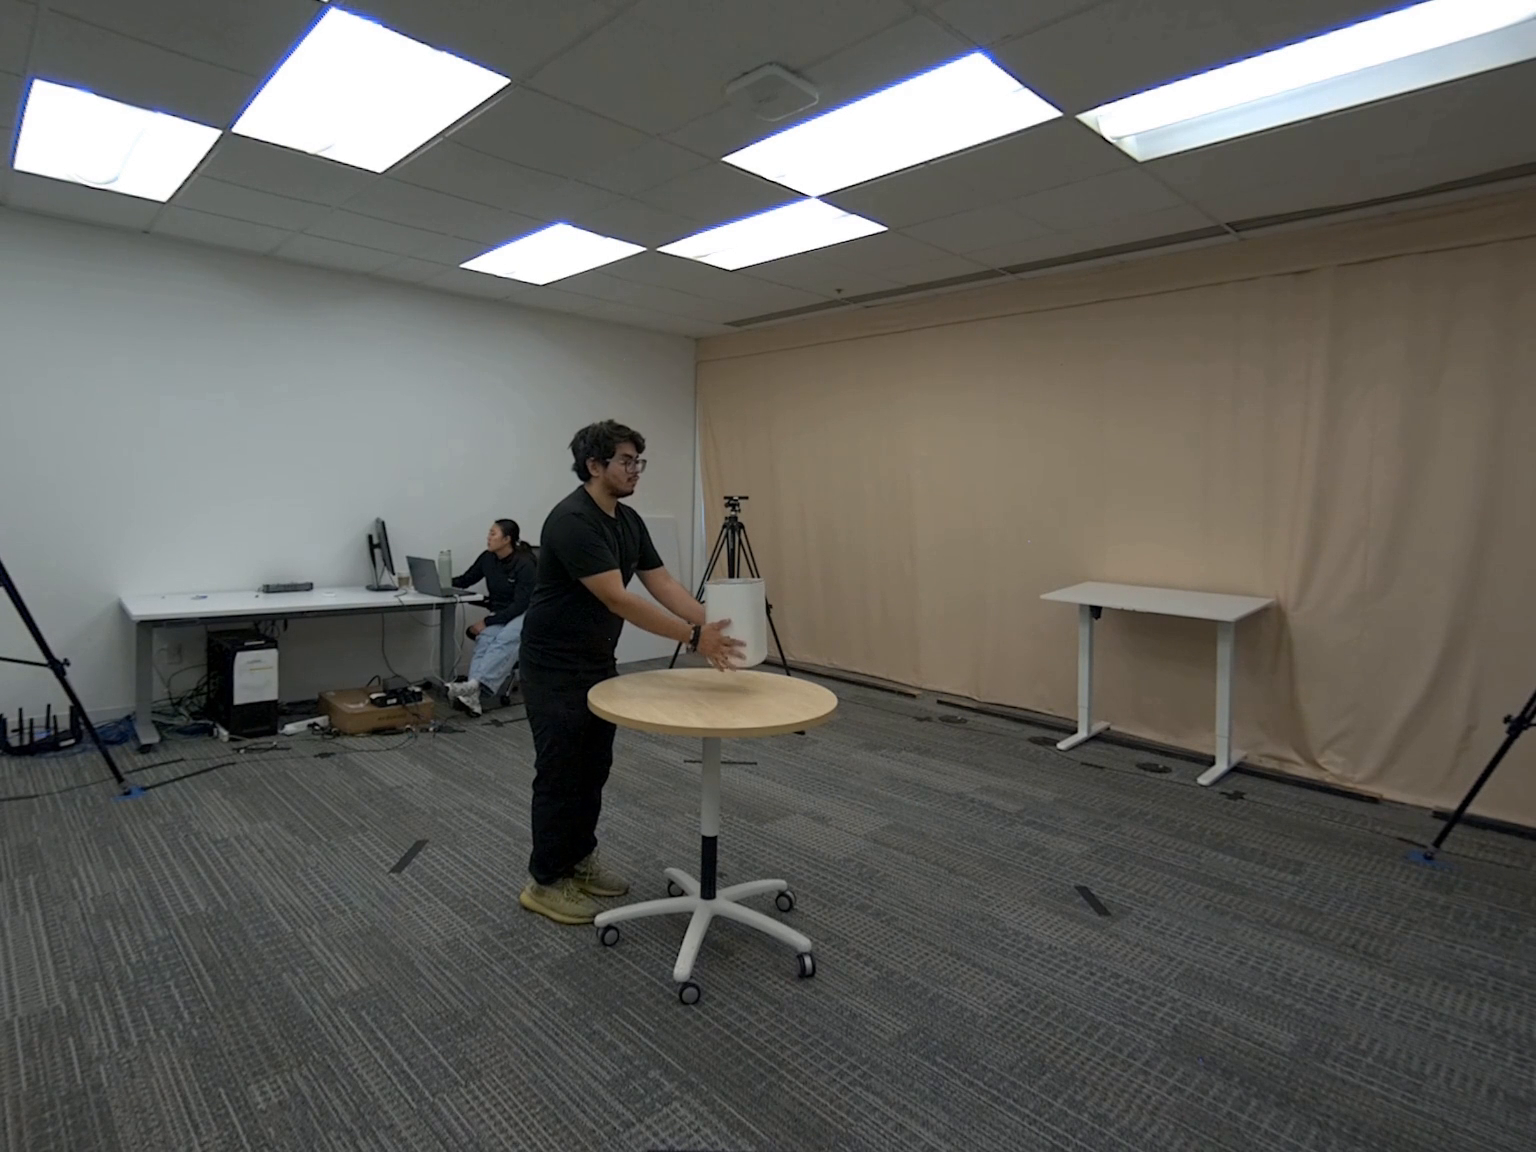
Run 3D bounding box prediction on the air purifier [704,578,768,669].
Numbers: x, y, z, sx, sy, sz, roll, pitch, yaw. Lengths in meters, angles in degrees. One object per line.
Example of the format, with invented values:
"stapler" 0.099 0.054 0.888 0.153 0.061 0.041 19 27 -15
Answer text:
"air purifier" -0.106 0.146 2.650 0.173 0.265 0.169 -1 2 16
